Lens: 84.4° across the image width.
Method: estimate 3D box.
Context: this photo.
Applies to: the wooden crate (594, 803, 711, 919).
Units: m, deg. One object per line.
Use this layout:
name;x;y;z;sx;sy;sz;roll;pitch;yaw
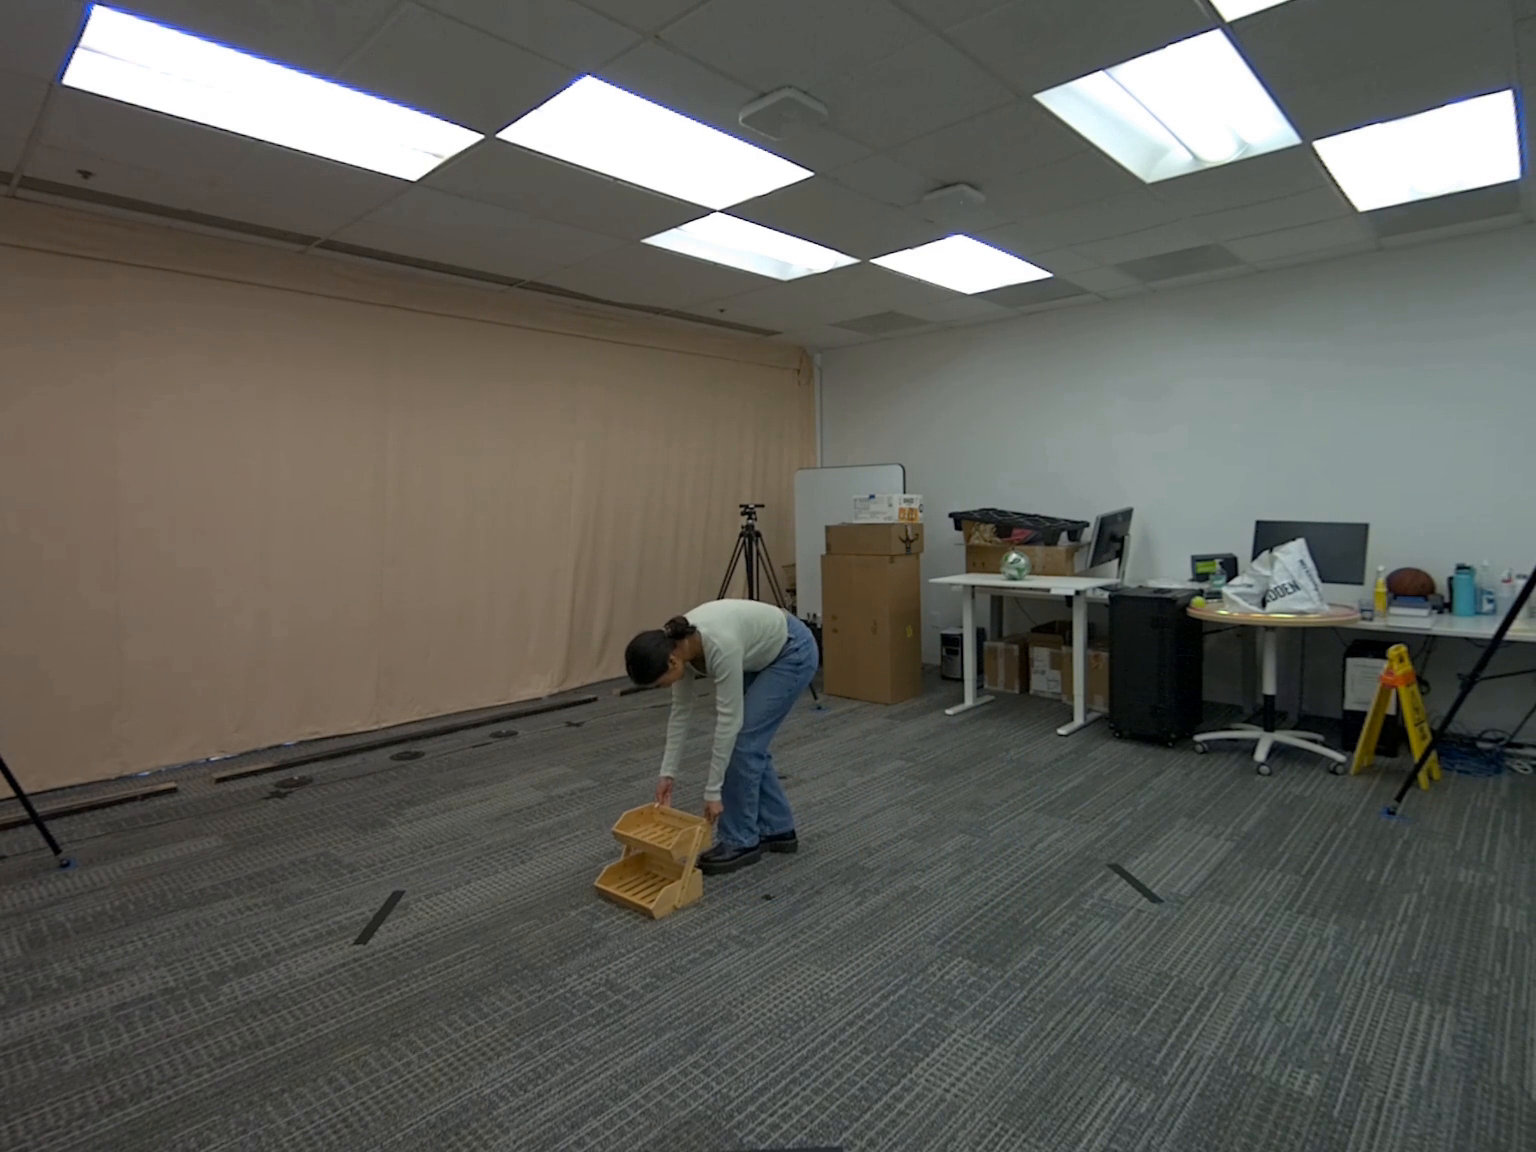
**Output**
wooden crate;-0.417;1.013;3.023;0.335;0.273;0.293;2;4;40
